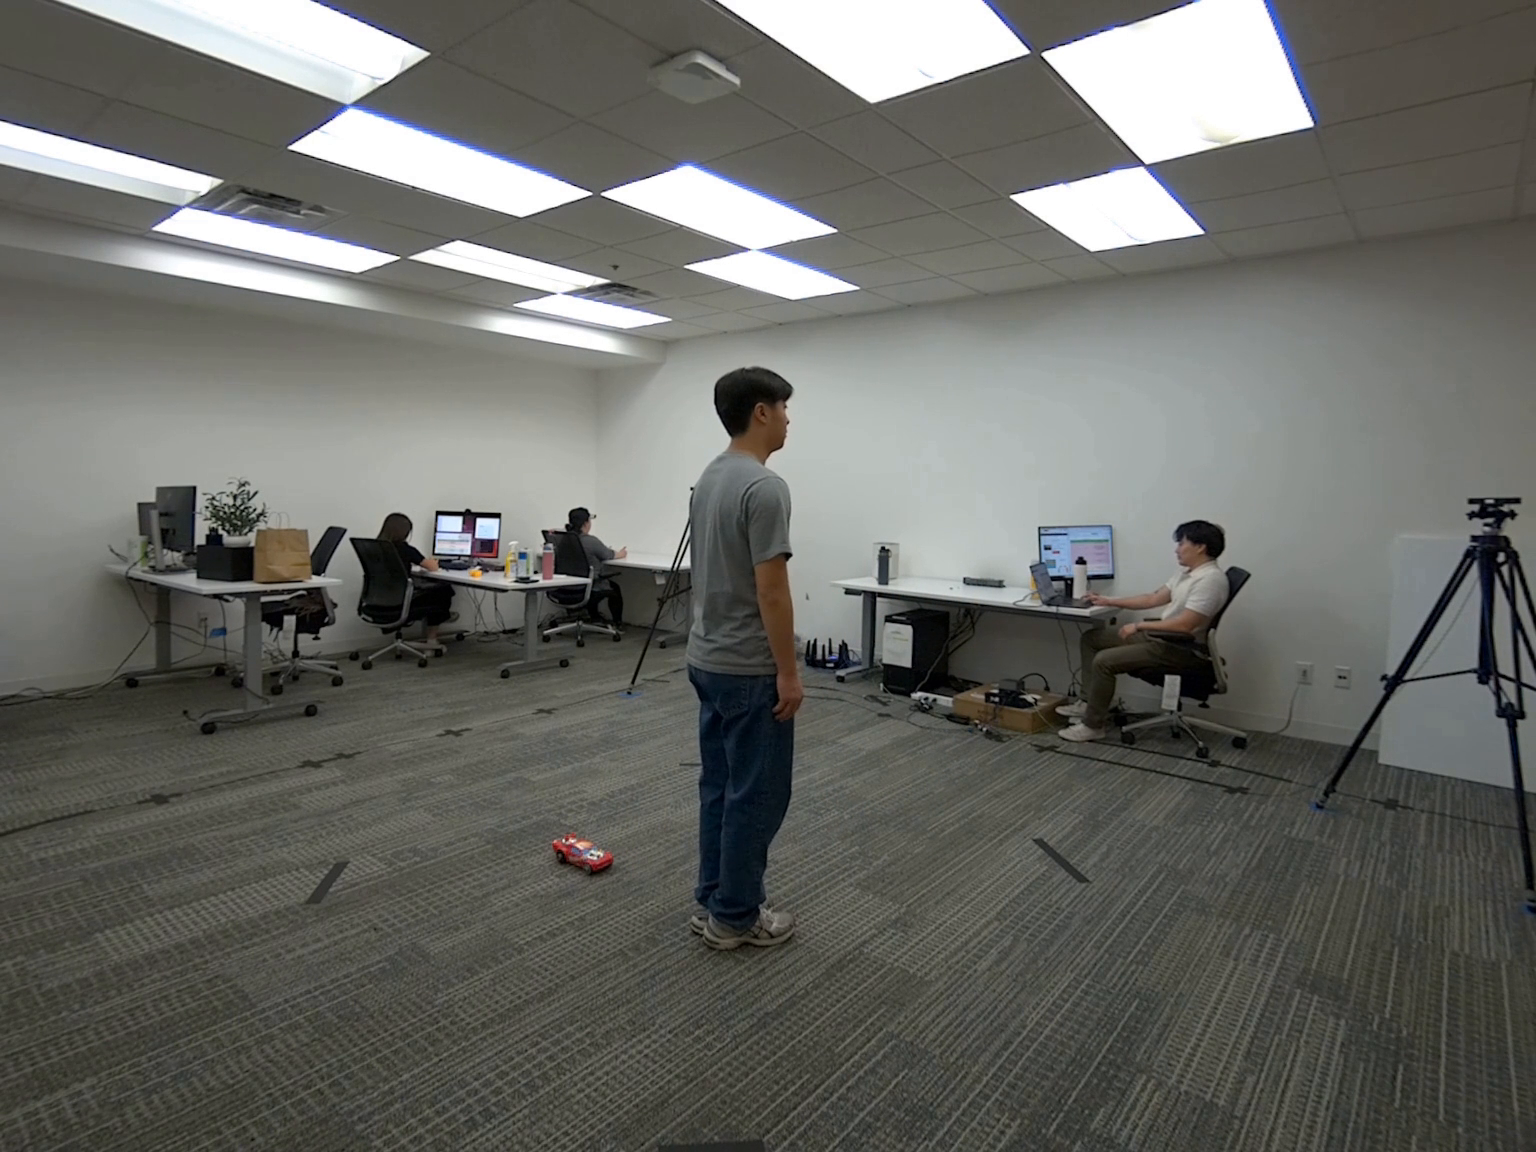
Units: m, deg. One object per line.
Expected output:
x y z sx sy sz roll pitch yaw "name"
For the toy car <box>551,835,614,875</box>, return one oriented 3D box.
-0.702 1.021 3.136 0.264 0.082 0.126 18 14 37 "toy car"
